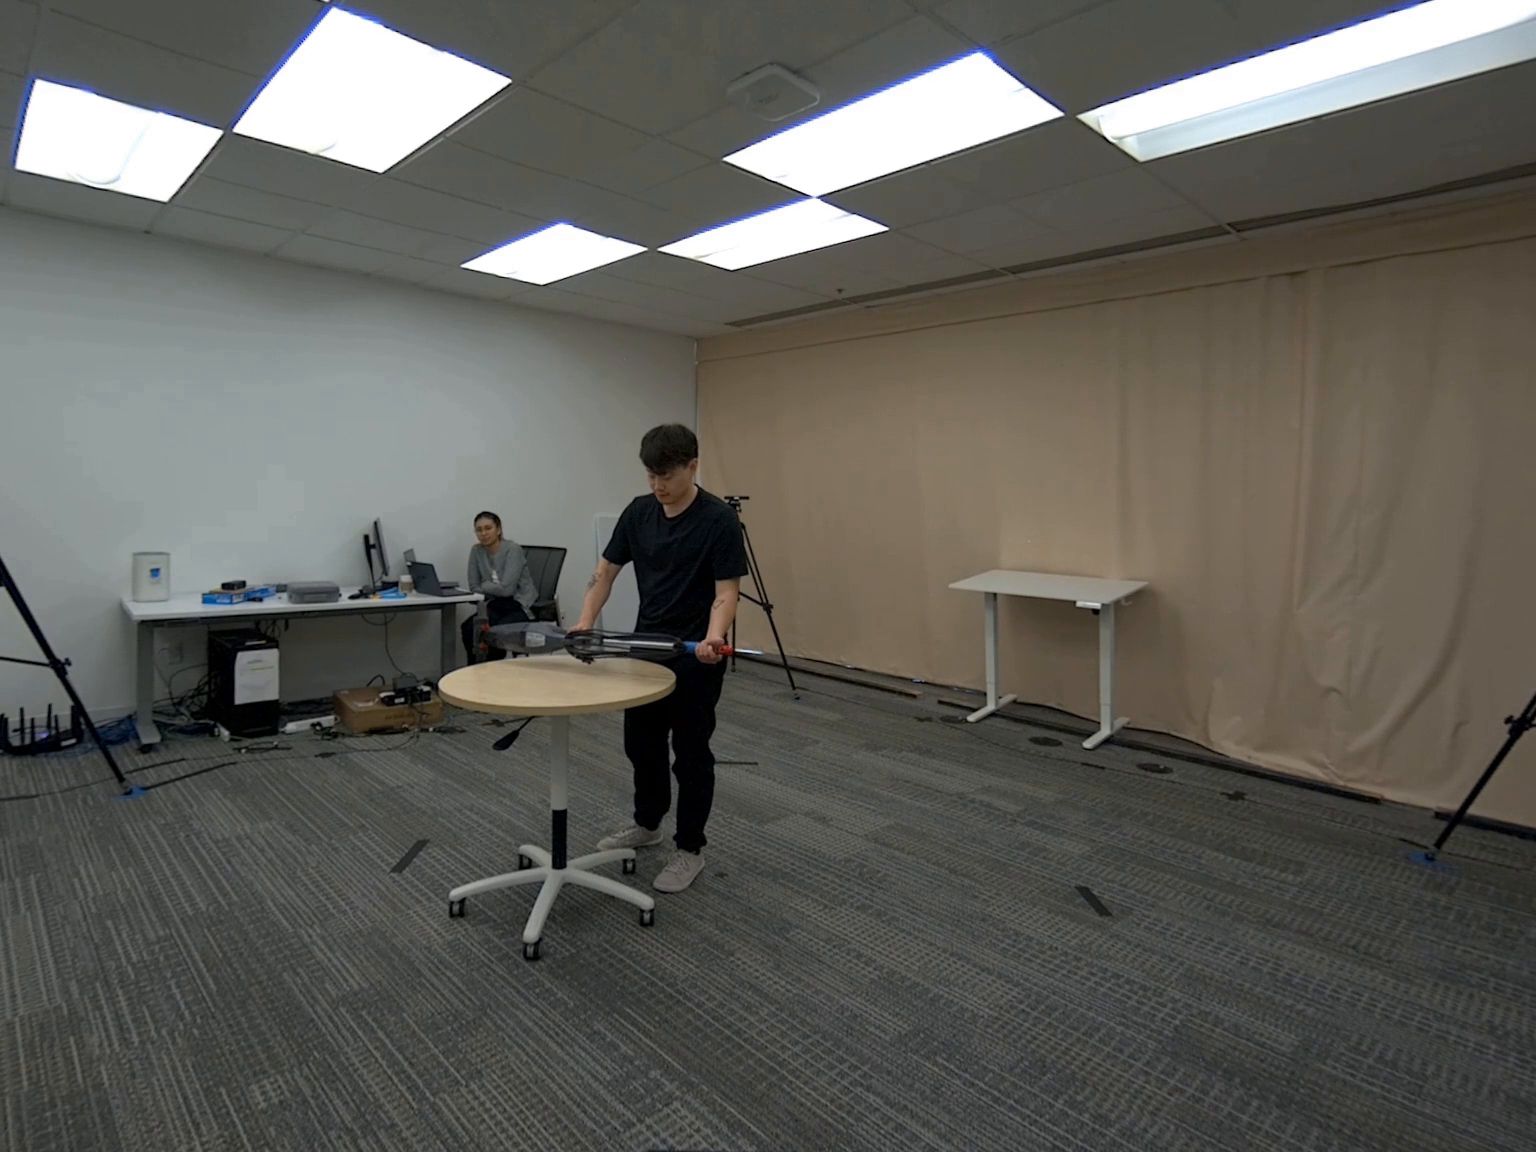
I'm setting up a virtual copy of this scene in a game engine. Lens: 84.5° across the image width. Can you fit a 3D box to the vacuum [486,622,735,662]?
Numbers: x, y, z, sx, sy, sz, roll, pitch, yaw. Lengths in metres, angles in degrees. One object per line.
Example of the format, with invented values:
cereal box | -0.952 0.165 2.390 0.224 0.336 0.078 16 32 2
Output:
vacuum | -0.598 0.230 2.876 1.069 0.254 0.141 1 -6 26
